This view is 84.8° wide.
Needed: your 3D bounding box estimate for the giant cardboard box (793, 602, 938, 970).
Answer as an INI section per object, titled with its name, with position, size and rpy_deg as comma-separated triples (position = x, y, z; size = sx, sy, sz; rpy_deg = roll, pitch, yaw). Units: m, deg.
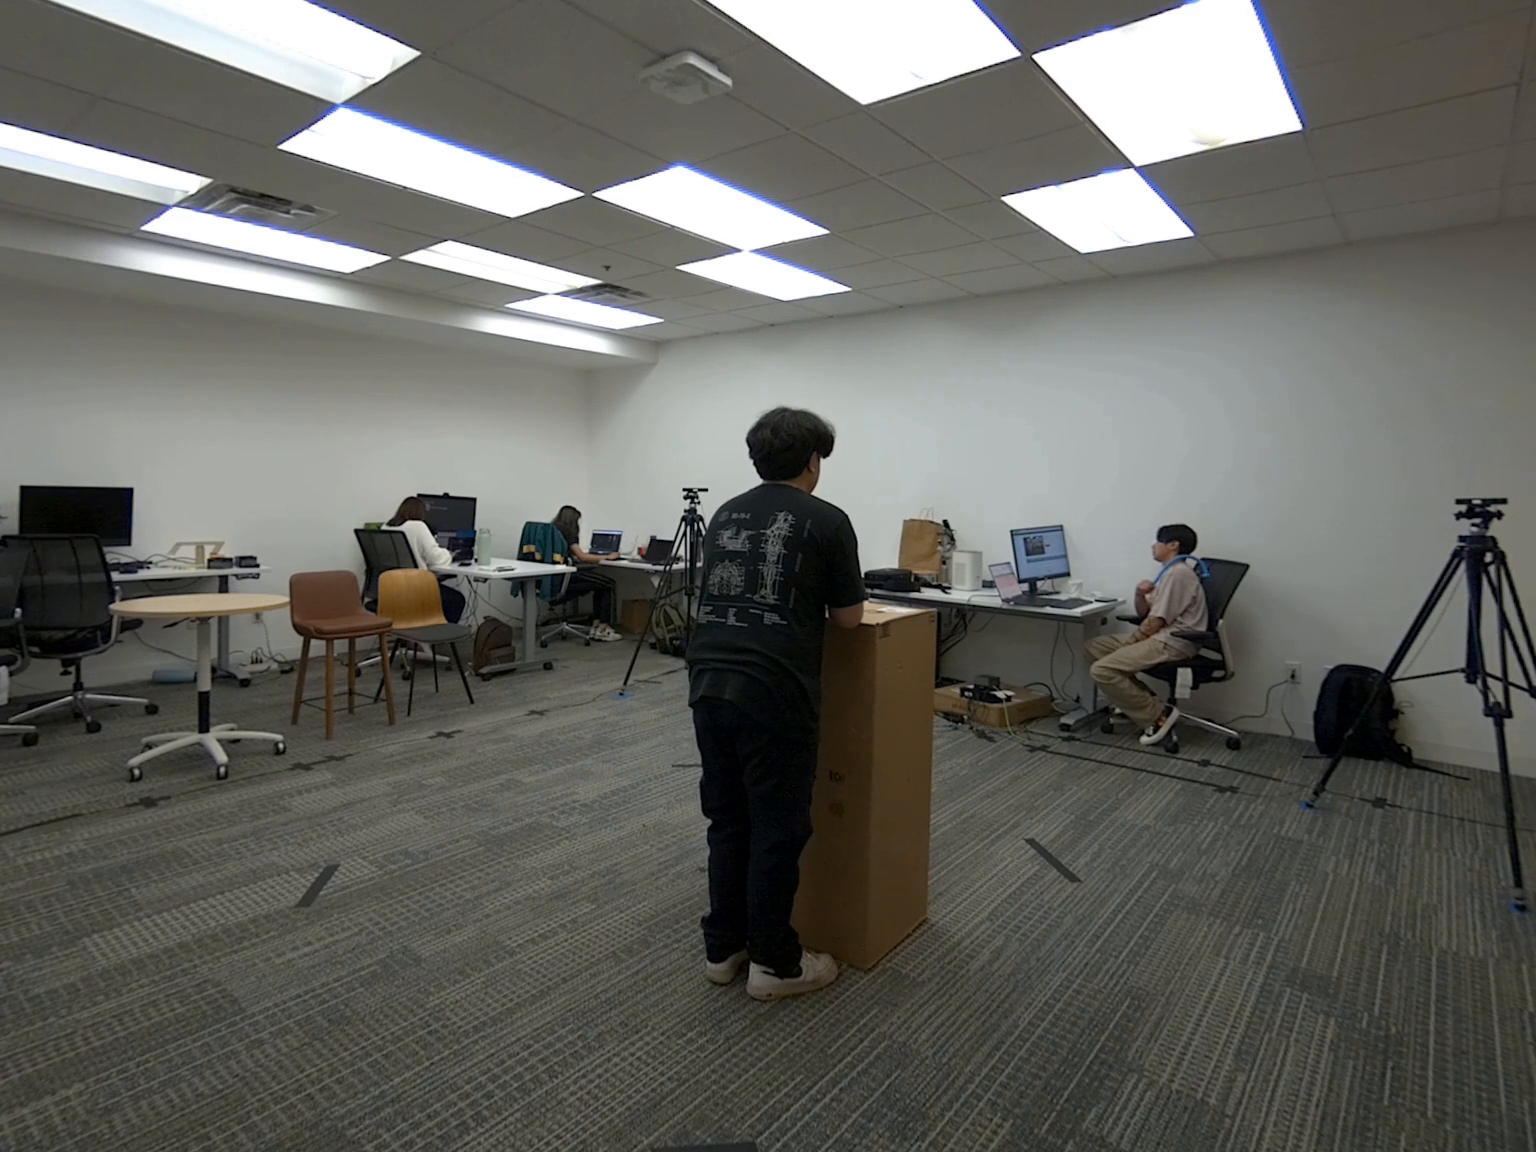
[giant cardboard box]
position = 0.178, 0.599, 2.783
size = 0.603, 1.025, 0.433
rpy_deg = 4, 3, 37
